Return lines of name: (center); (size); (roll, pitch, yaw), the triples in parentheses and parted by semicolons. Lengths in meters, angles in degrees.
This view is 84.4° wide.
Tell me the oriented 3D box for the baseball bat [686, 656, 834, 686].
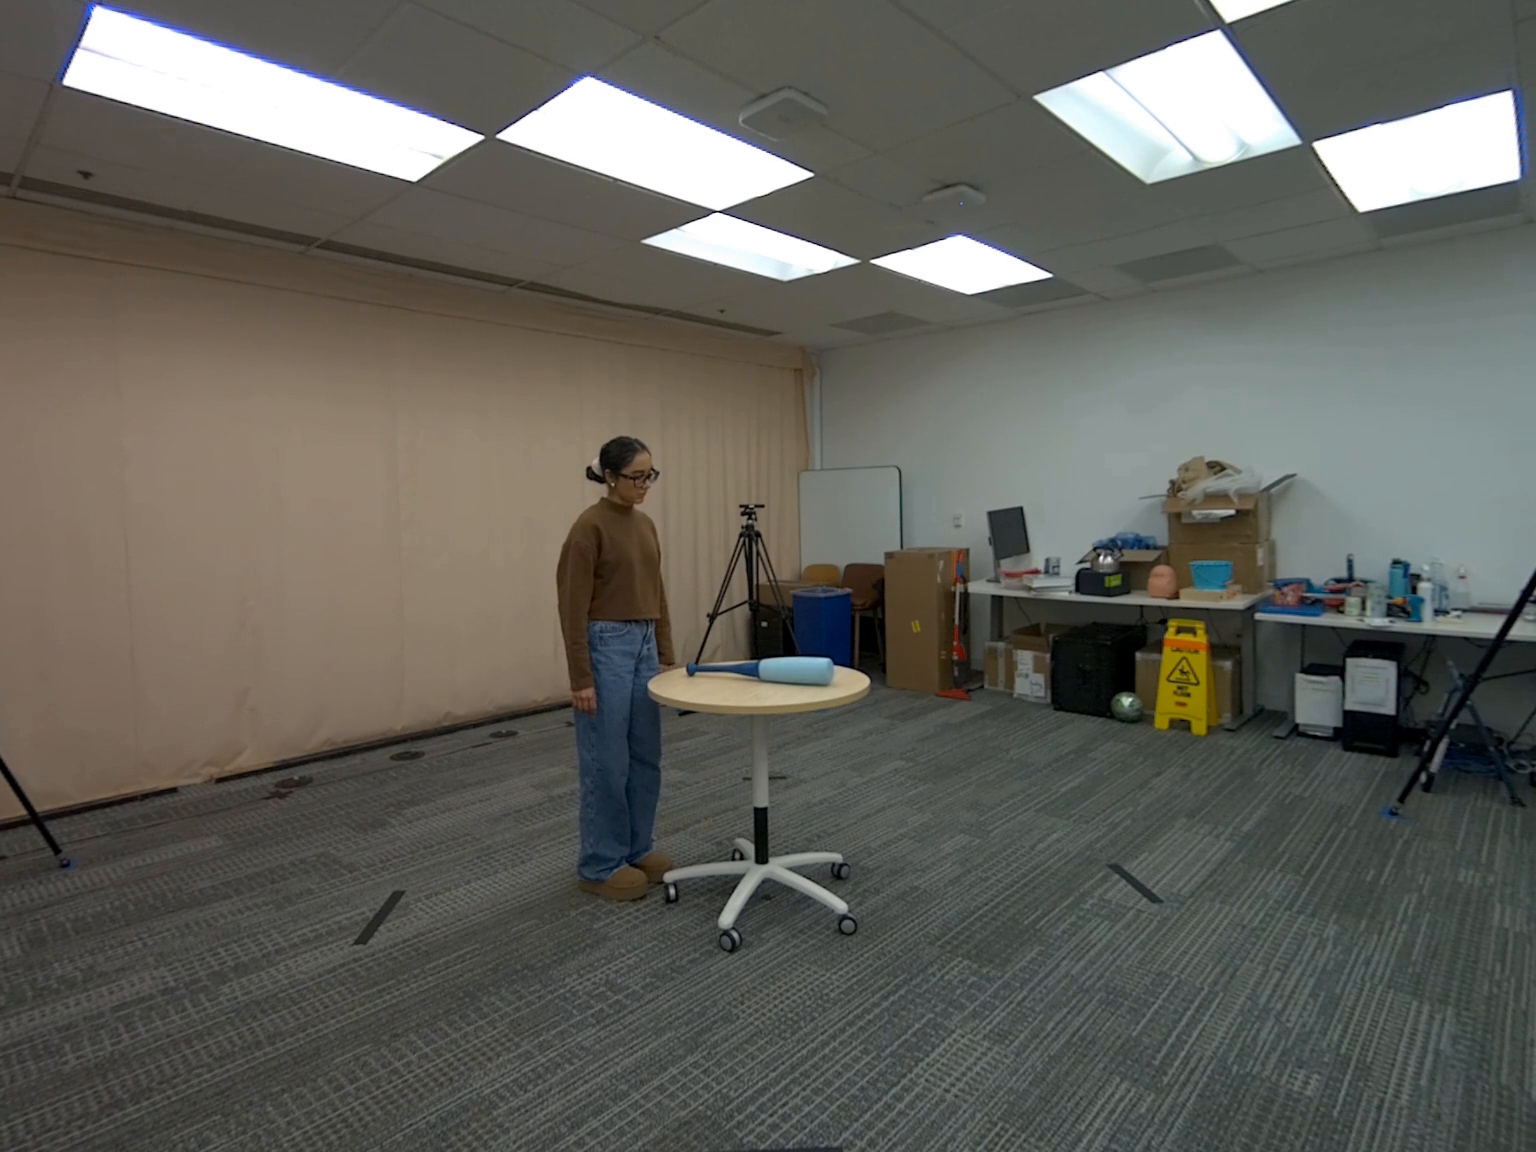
baseball bat: (-0.036, 0.331, 2.912); (0.555, 0.089, 0.087); (-3, 3, 24)
